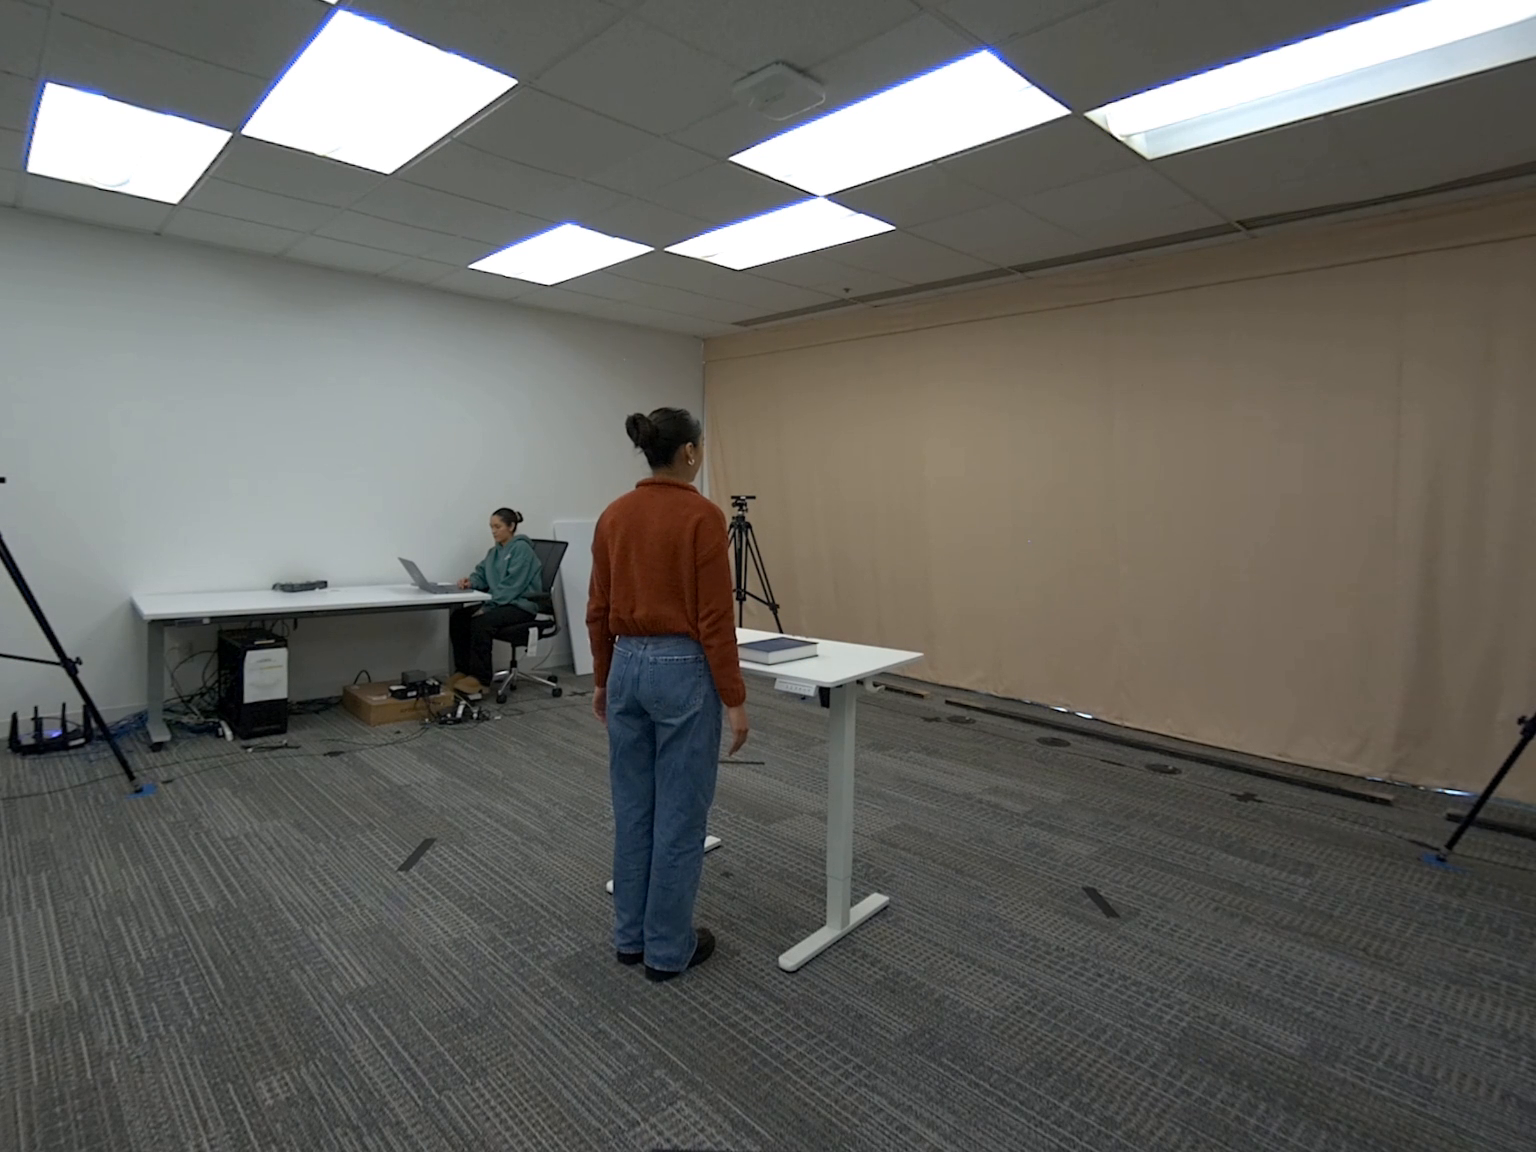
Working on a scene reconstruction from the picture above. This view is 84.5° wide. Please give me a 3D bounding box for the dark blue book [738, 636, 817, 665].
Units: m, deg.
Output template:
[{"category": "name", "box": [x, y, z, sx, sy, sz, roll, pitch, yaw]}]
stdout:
[{"category": "dark blue book", "box": [0.022, 0.242, 2.693, 0.167, 0.045, 0.239, 5, 7, 42]}]
